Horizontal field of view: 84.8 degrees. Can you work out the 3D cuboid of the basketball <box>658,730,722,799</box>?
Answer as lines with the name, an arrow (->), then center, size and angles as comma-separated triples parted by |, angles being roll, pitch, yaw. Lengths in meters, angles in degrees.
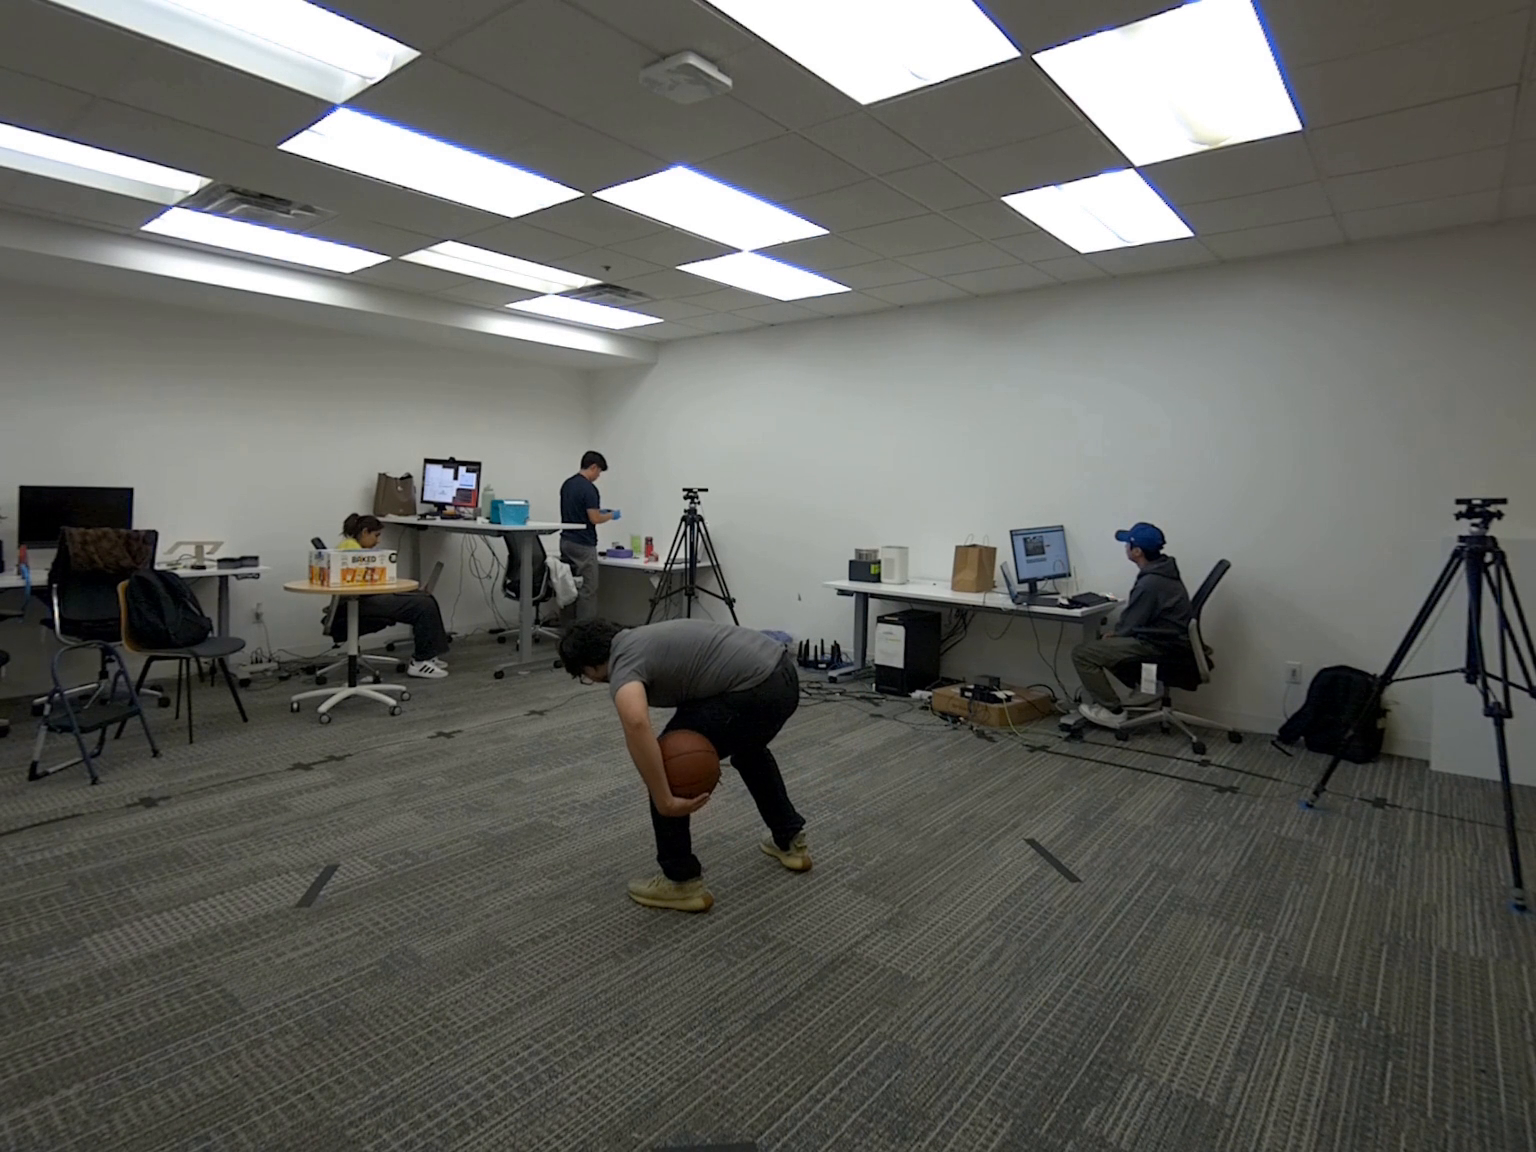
basketball -> -0.268, 0.605, 2.691 | 0.235, 0.235, 0.237 | 1, 4, -2
